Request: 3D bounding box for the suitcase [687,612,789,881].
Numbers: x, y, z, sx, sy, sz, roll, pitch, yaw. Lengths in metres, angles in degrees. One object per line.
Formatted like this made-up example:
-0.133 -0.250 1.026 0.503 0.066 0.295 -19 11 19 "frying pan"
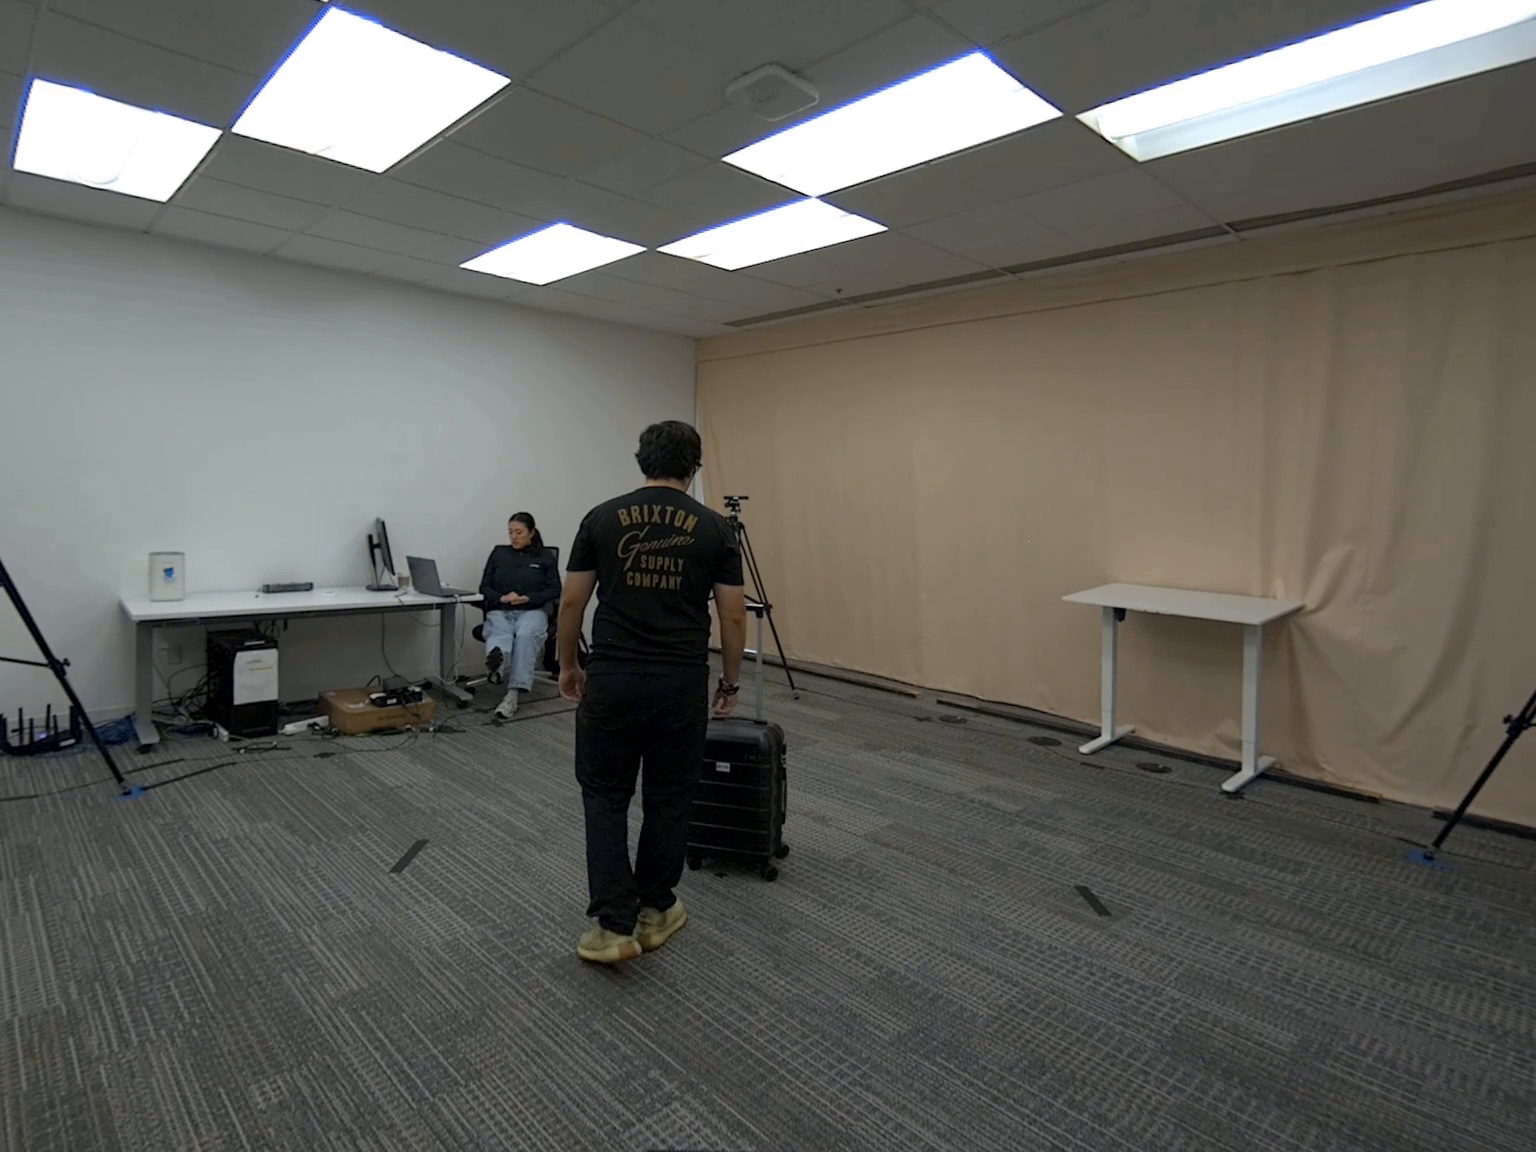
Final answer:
-0.122 0.621 3.173 0.389 0.974 0.255 1 6 15 "suitcase"
